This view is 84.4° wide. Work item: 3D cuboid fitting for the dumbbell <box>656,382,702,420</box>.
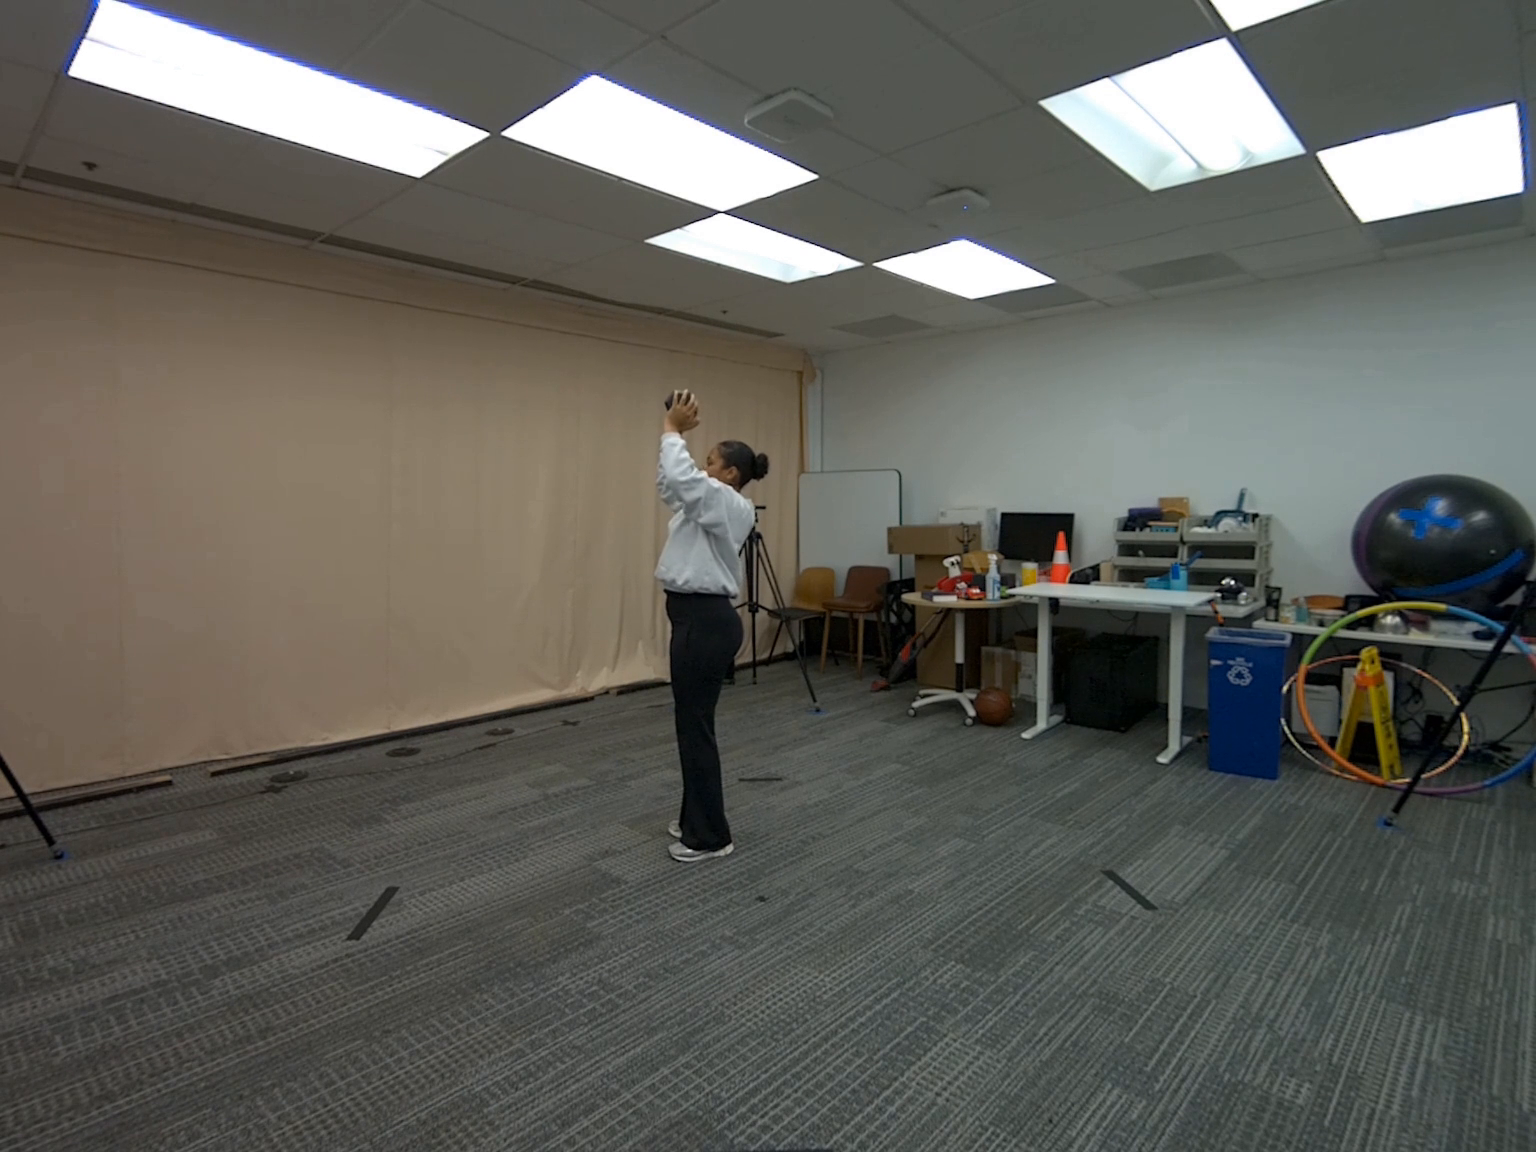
[{"bbox_3d":[-0.354,-0.674,3.391,0.109,0.122,0.294,-28,4,2],"label":"dumbbell"}]
